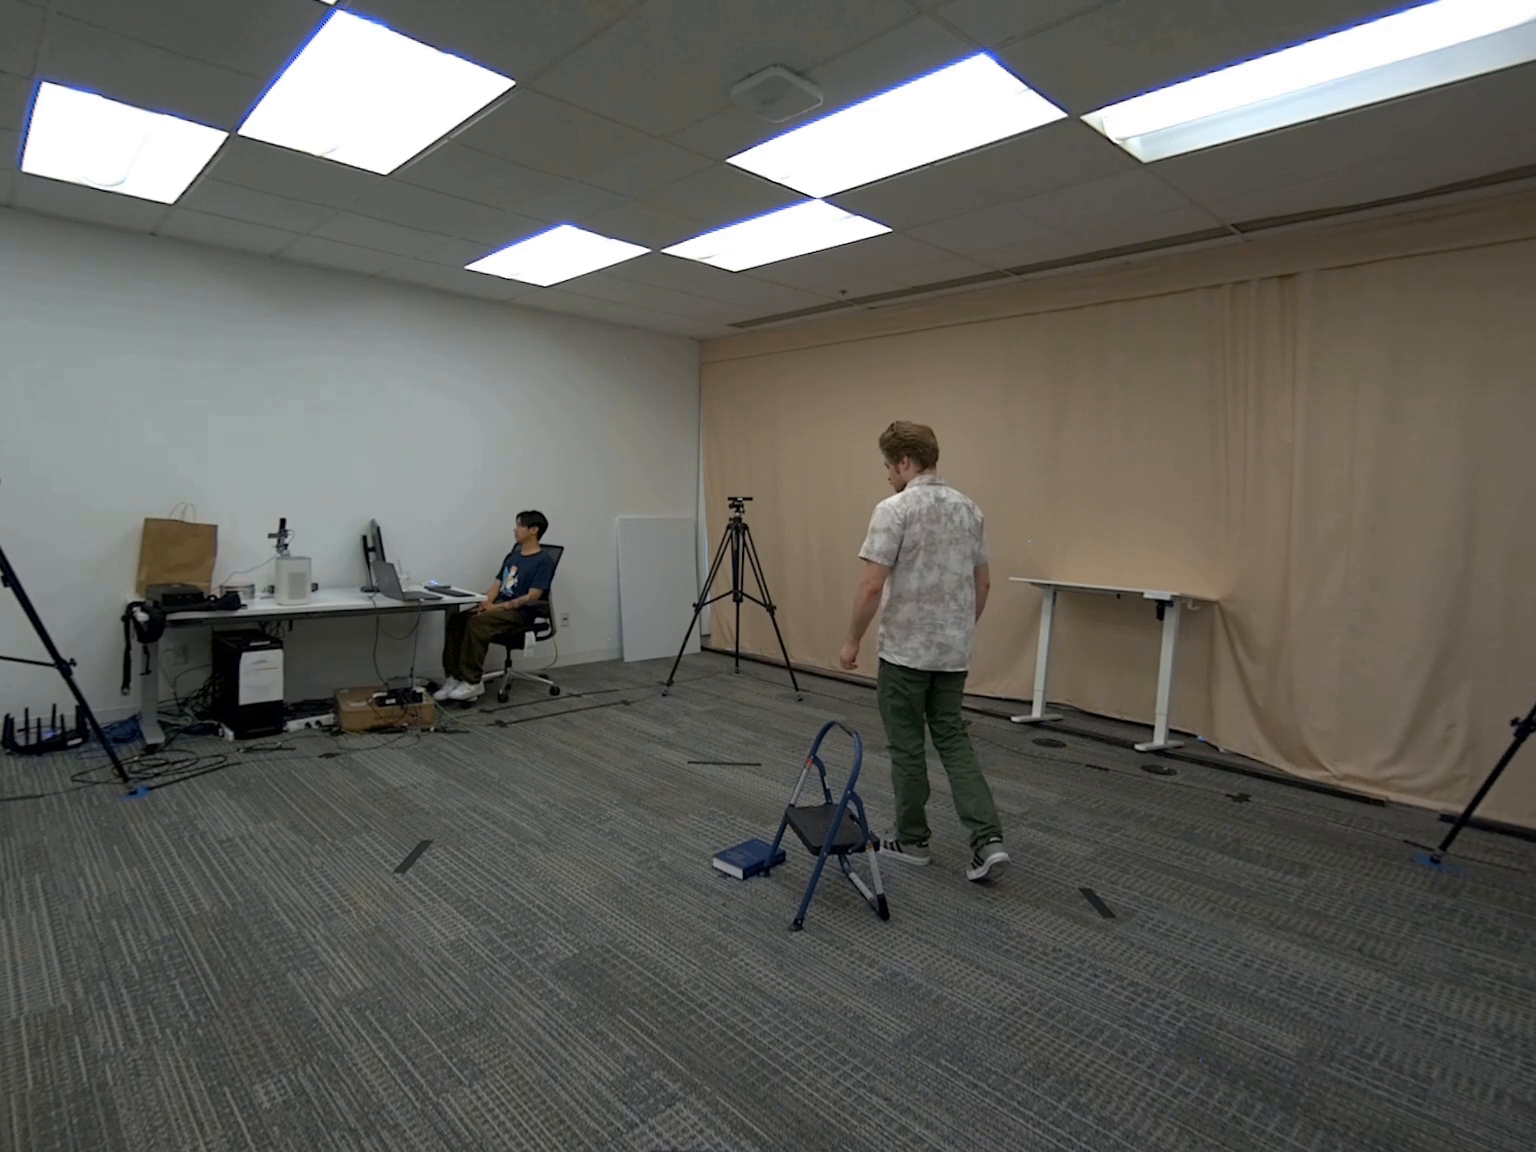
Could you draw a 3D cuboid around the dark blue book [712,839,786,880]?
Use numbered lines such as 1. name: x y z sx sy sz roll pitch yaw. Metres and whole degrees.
1. dark blue book: -0.077 1.076 3.207 0.167 0.045 0.239 4 6 43
